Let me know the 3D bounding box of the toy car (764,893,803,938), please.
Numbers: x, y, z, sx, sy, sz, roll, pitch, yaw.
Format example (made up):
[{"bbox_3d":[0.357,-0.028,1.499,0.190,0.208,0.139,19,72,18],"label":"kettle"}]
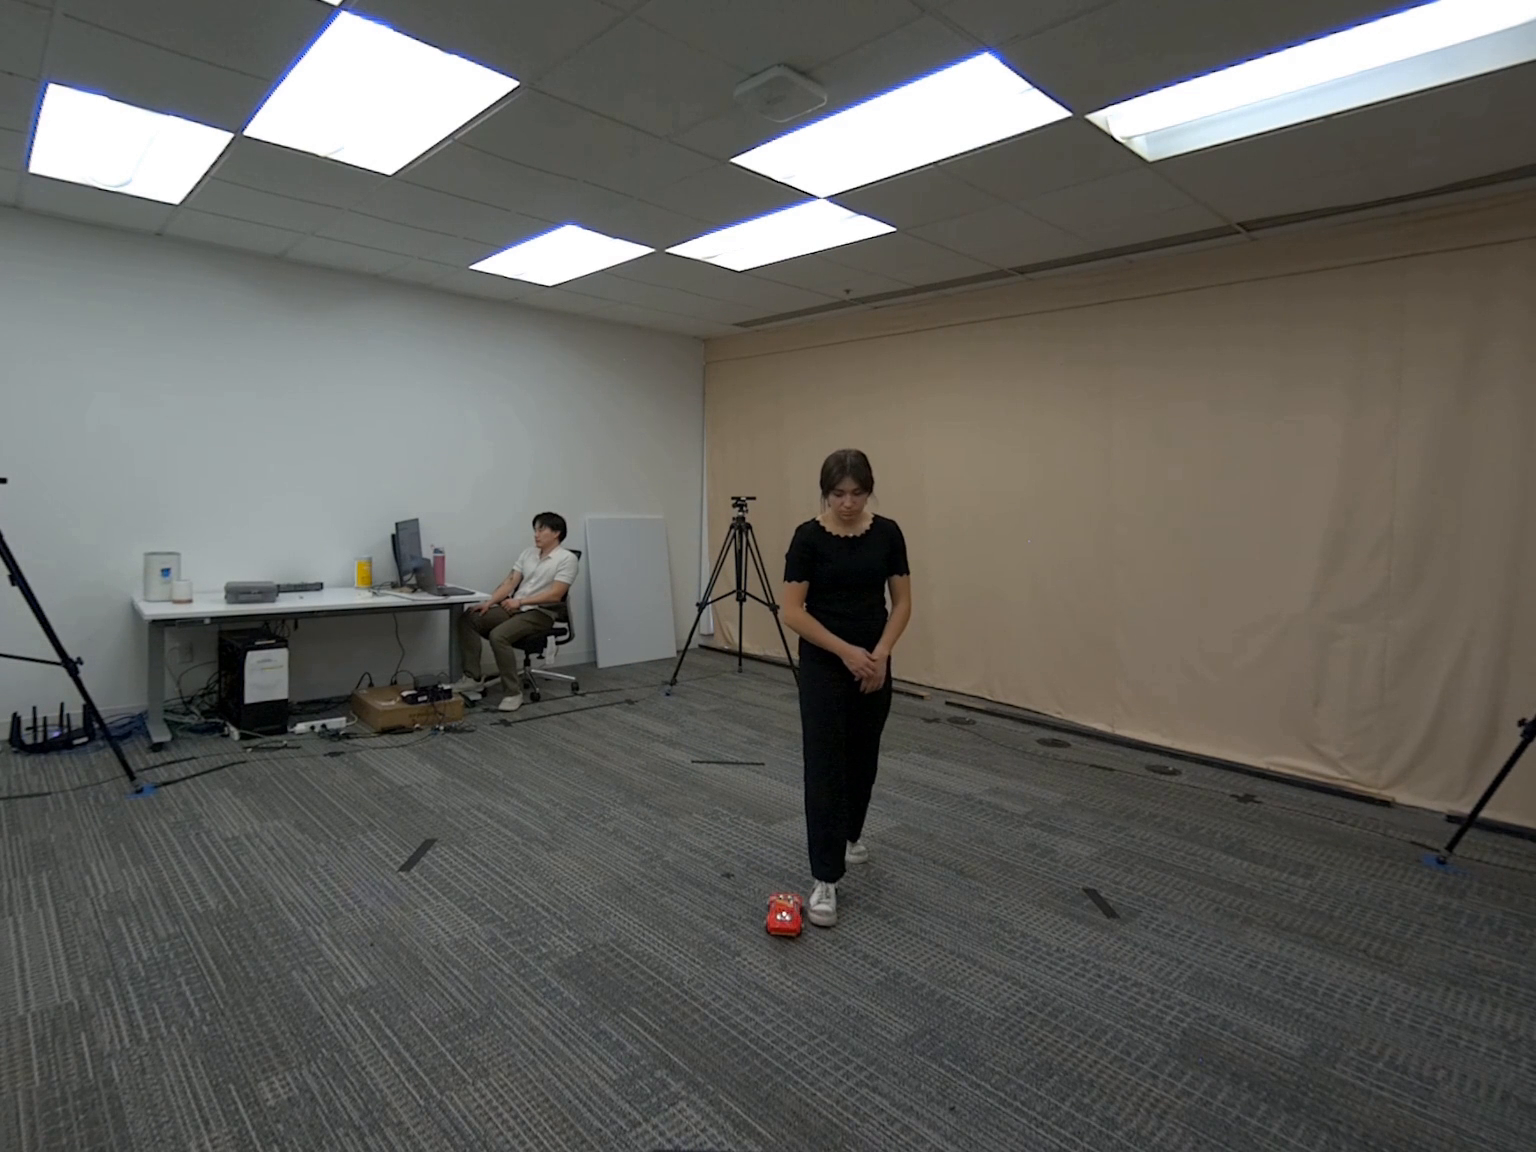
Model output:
[{"bbox_3d":[0.055,1.111,2.747,0.131,0.083,0.252,2,-6,4],"label":"toy car"}]
